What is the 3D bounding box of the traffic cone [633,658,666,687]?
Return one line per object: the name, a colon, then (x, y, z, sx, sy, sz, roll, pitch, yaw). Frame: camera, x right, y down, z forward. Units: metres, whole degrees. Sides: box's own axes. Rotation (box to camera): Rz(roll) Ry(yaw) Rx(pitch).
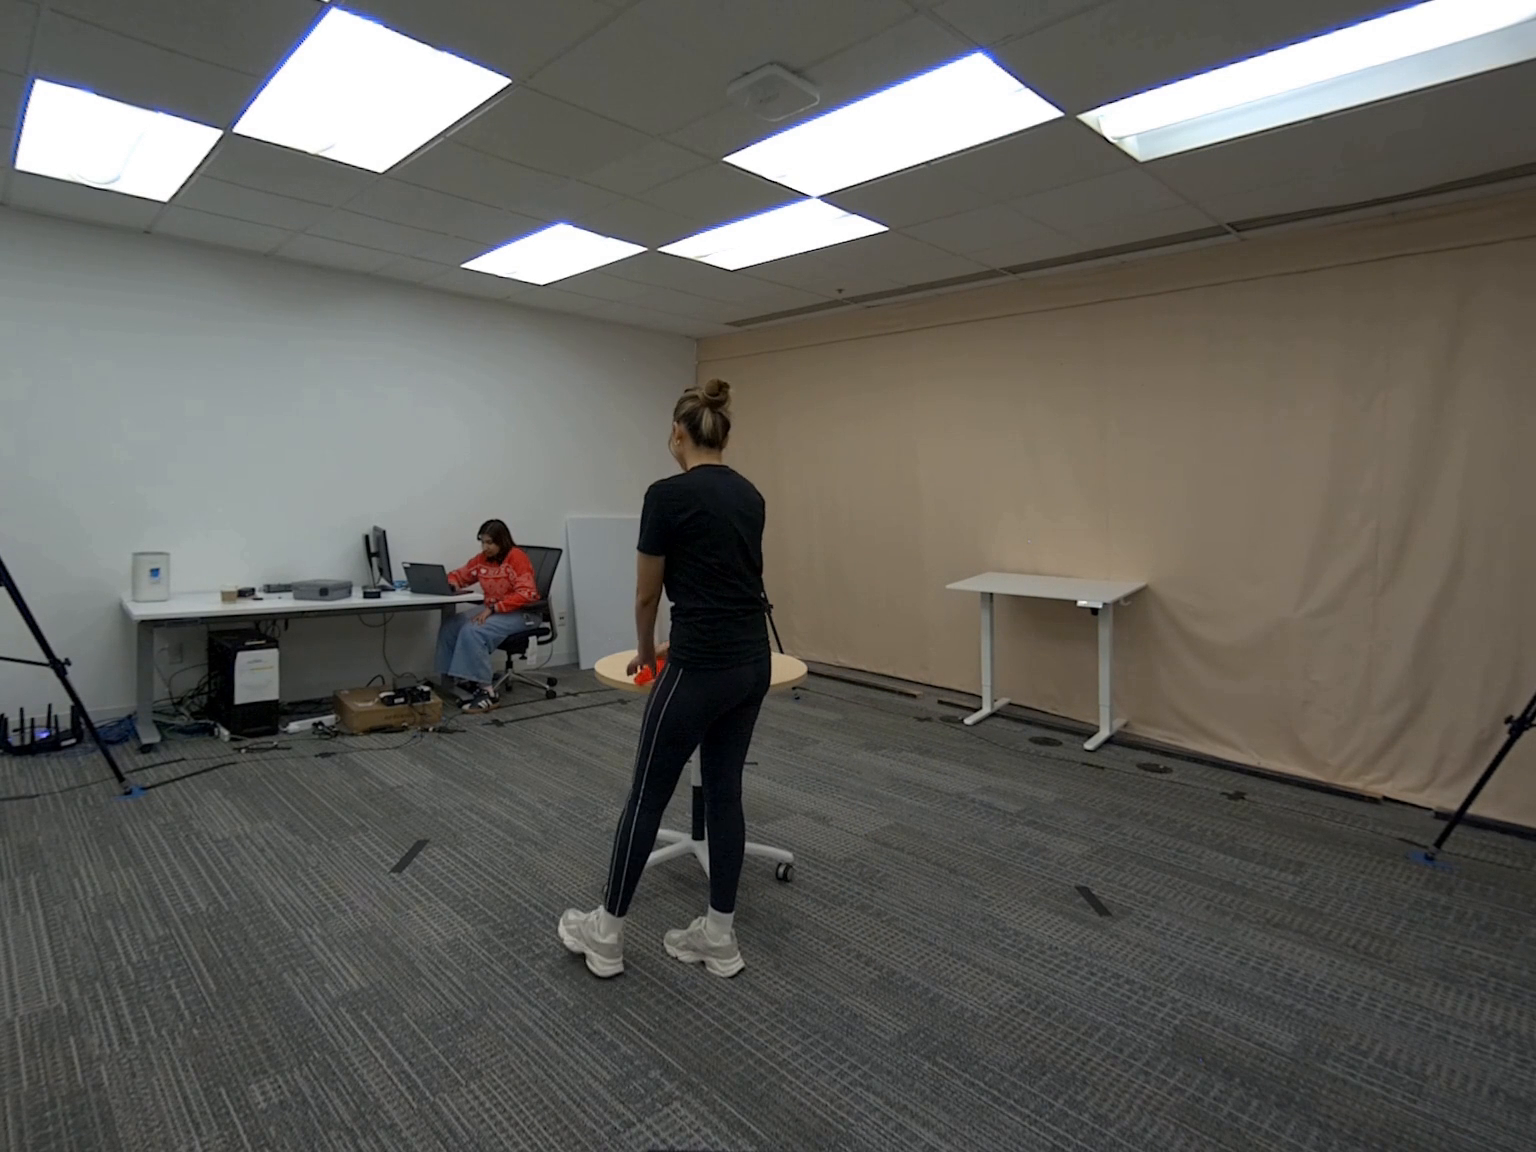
traffic cone: (-0.297, 0.278, 2.834, 0.206, 0.204, 0.380, -36, -2, 42)
